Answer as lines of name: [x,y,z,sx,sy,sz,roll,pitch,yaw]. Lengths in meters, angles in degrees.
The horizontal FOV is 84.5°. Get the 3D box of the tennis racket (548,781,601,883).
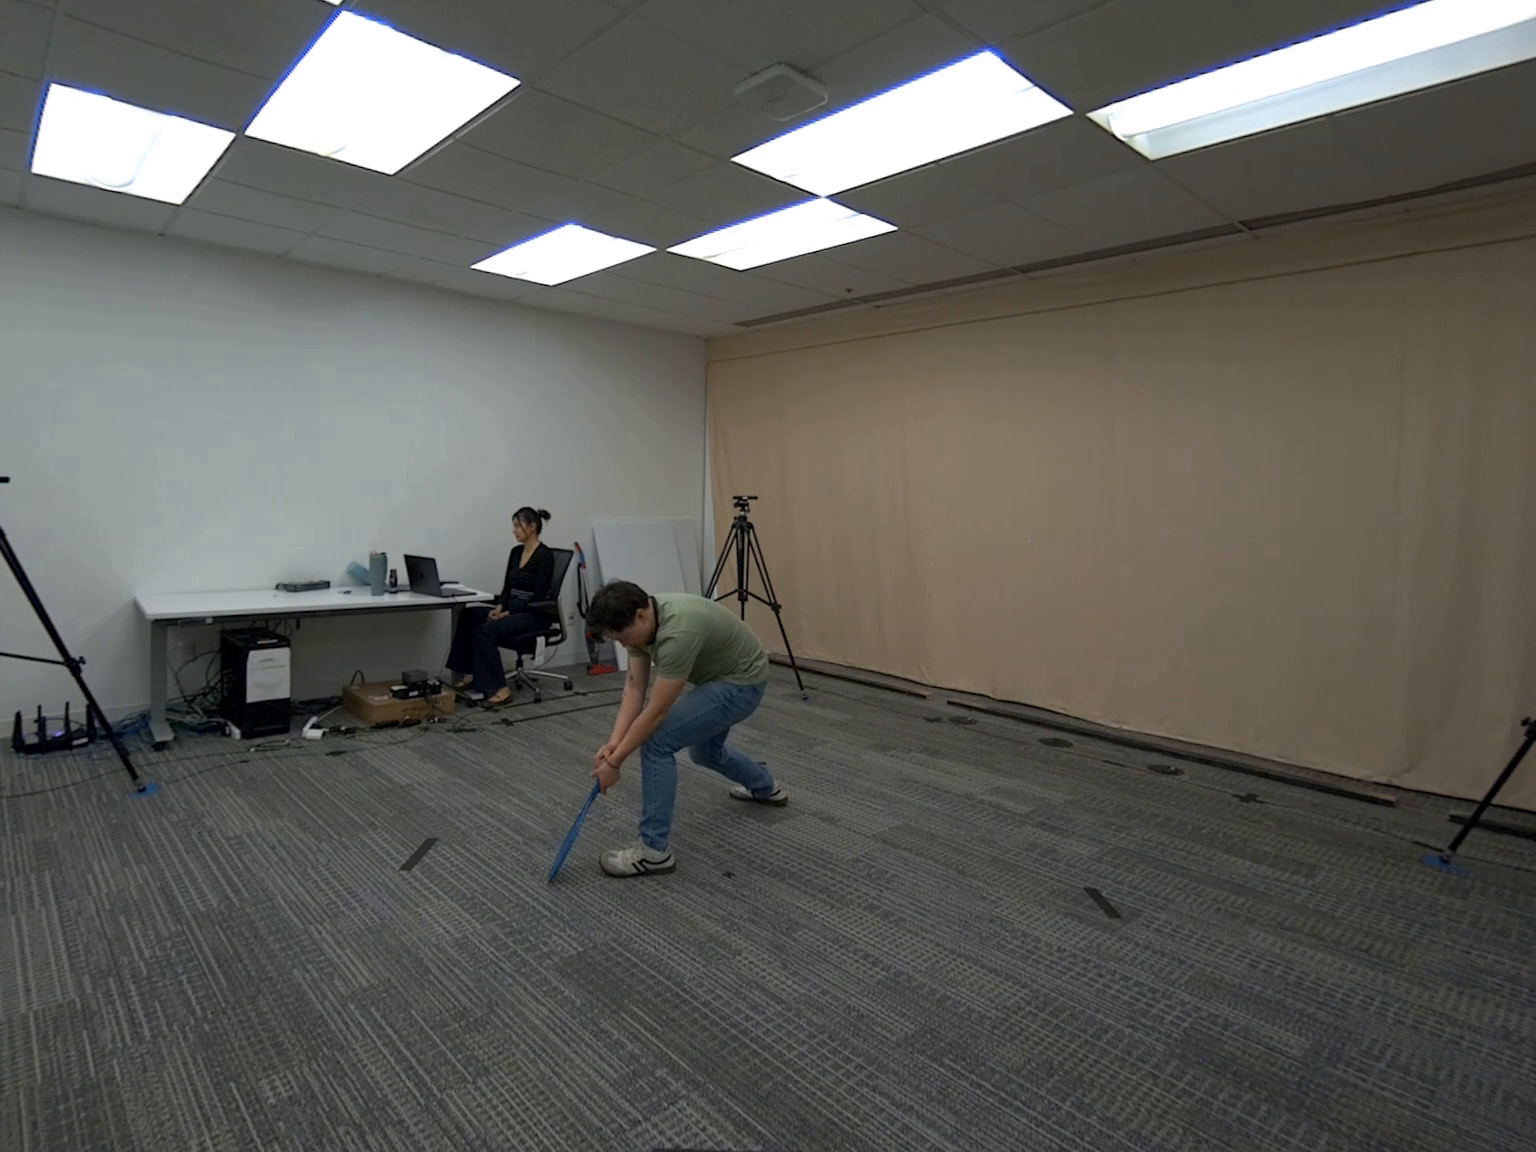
tennis racket: [-0.685,0.903,3.066,0.032,0.435,0.212,22,-14,-2]
